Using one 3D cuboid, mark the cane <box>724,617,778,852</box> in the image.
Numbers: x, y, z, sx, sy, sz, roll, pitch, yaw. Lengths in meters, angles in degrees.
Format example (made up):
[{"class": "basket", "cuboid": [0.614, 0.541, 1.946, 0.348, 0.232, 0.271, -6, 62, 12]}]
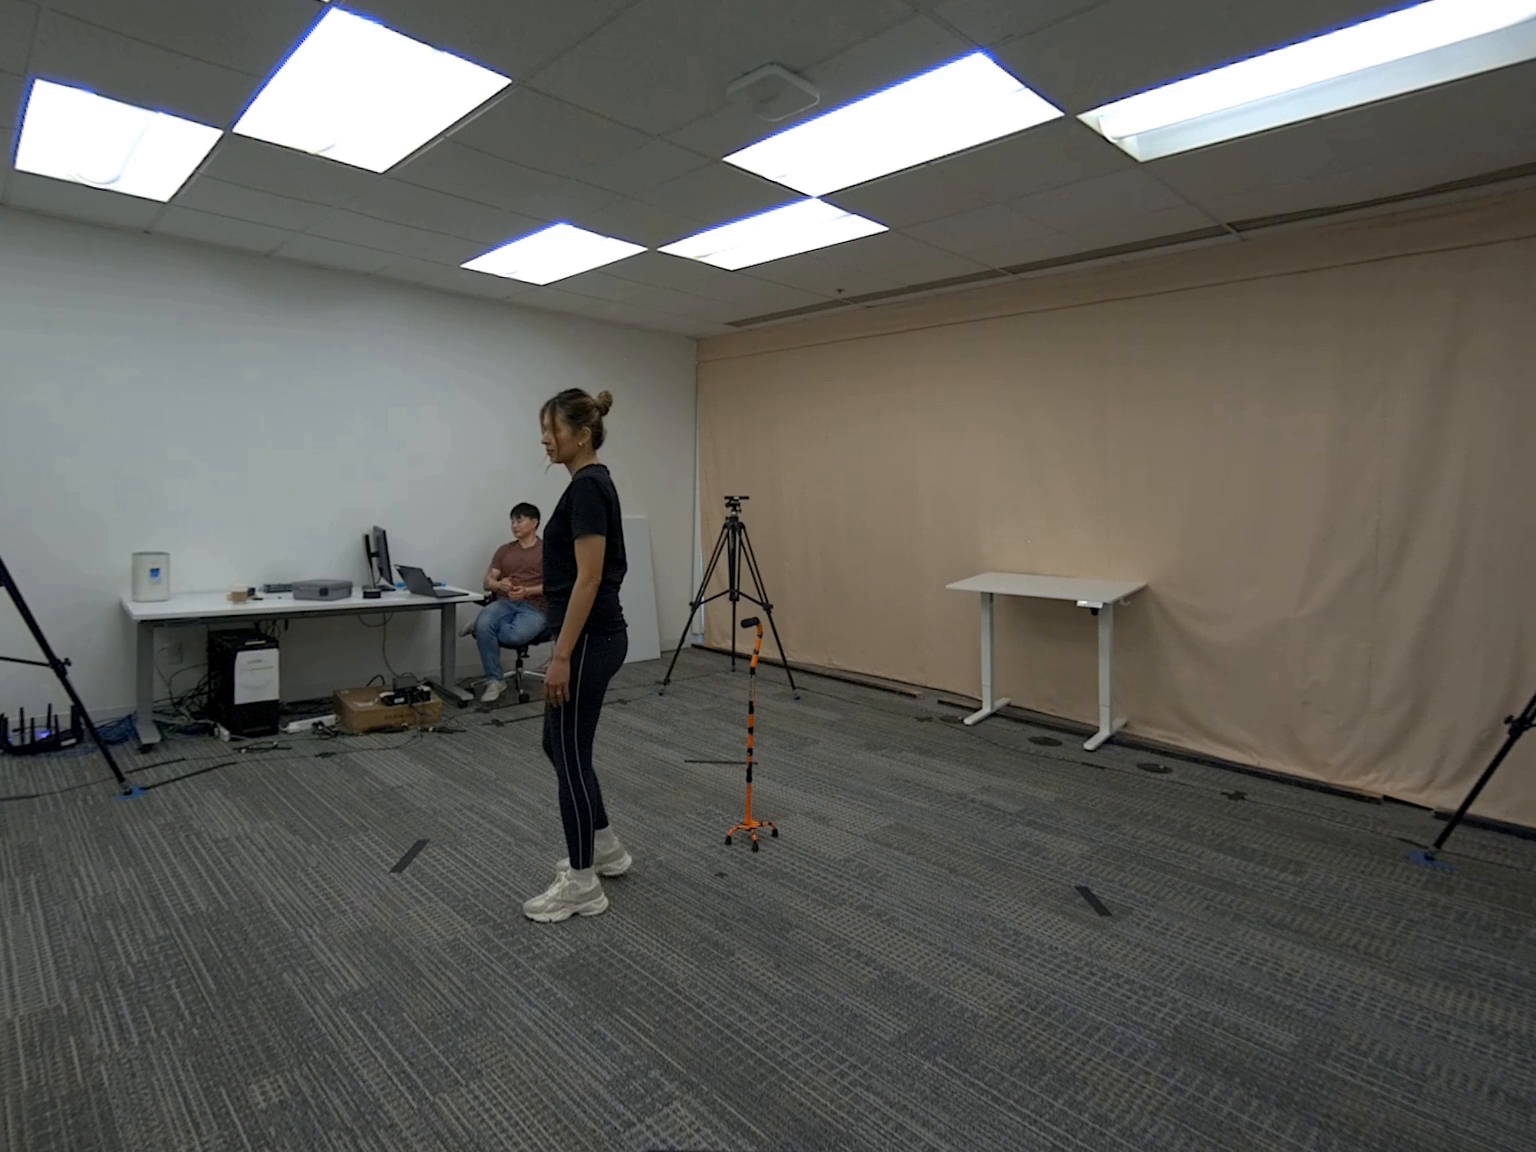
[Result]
[{"class": "cane", "cuboid": [-0.060, 0.621, 3.410, 0.154, 0.906, 0.203, 3, 3, 24]}]
